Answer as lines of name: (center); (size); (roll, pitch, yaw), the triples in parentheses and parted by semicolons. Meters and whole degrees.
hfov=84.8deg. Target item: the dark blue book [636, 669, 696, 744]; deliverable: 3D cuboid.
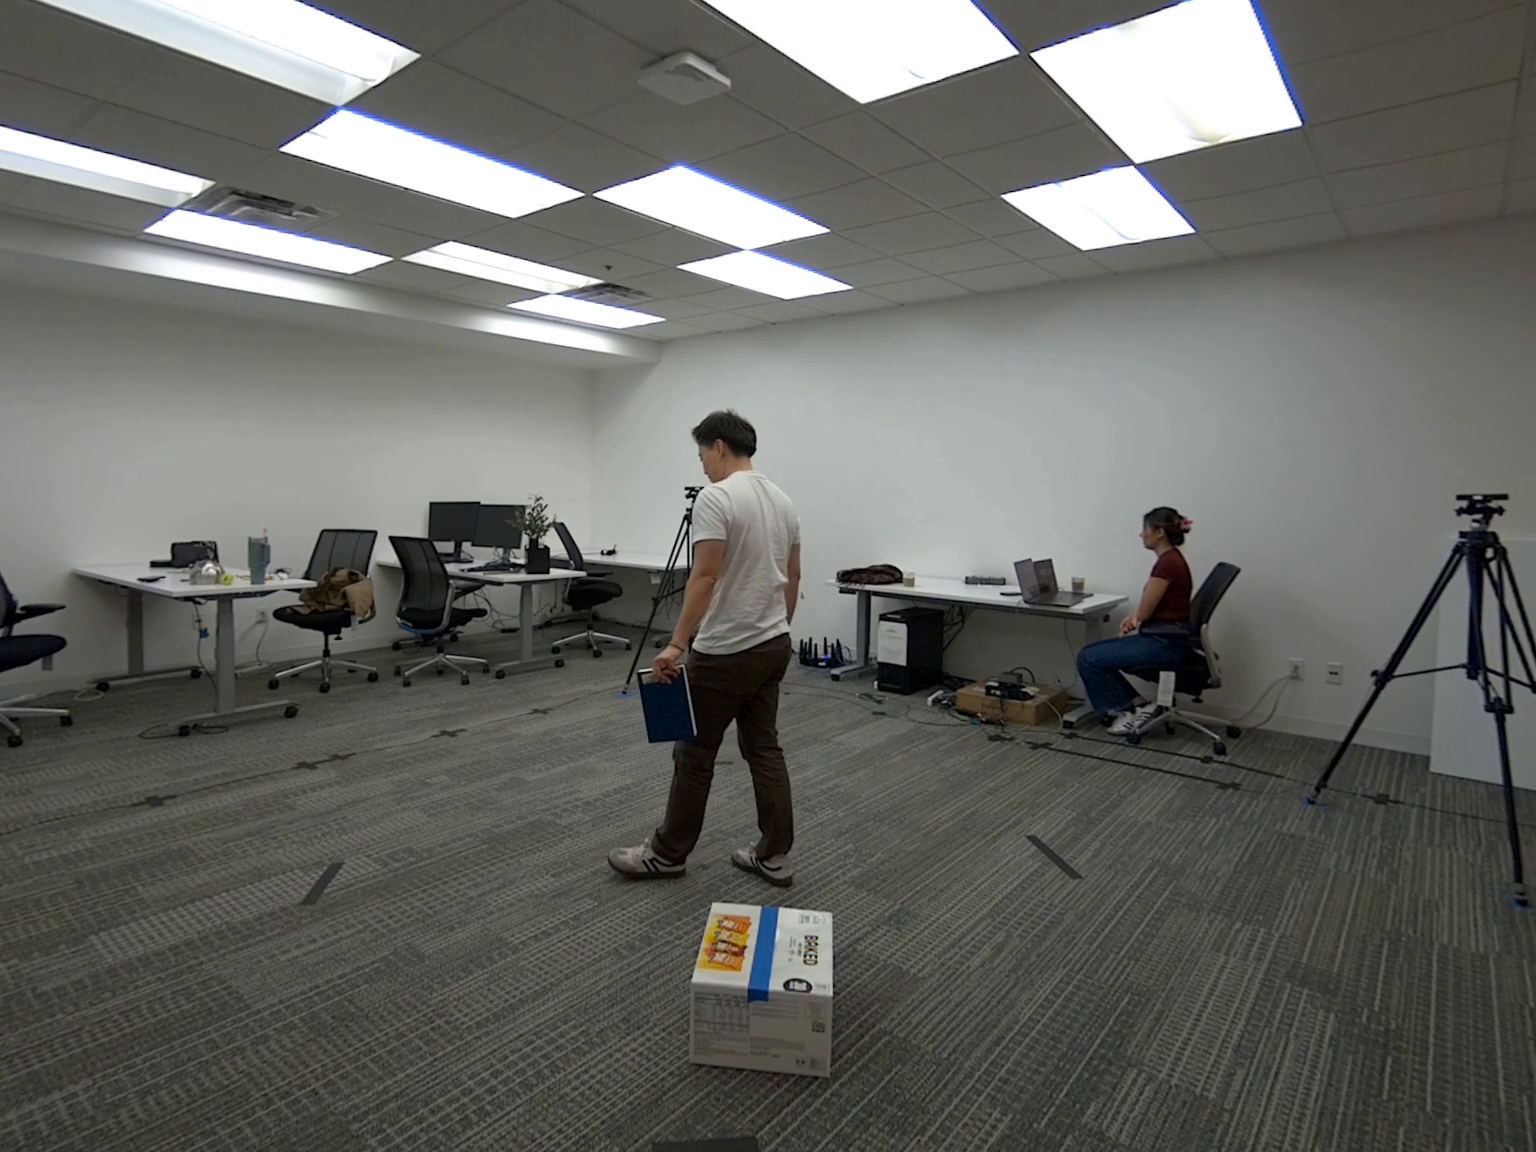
dark blue book: (-0.339, 0.419, 2.809); (0.164, 0.244, 0.045); (-9, 3, 8)
